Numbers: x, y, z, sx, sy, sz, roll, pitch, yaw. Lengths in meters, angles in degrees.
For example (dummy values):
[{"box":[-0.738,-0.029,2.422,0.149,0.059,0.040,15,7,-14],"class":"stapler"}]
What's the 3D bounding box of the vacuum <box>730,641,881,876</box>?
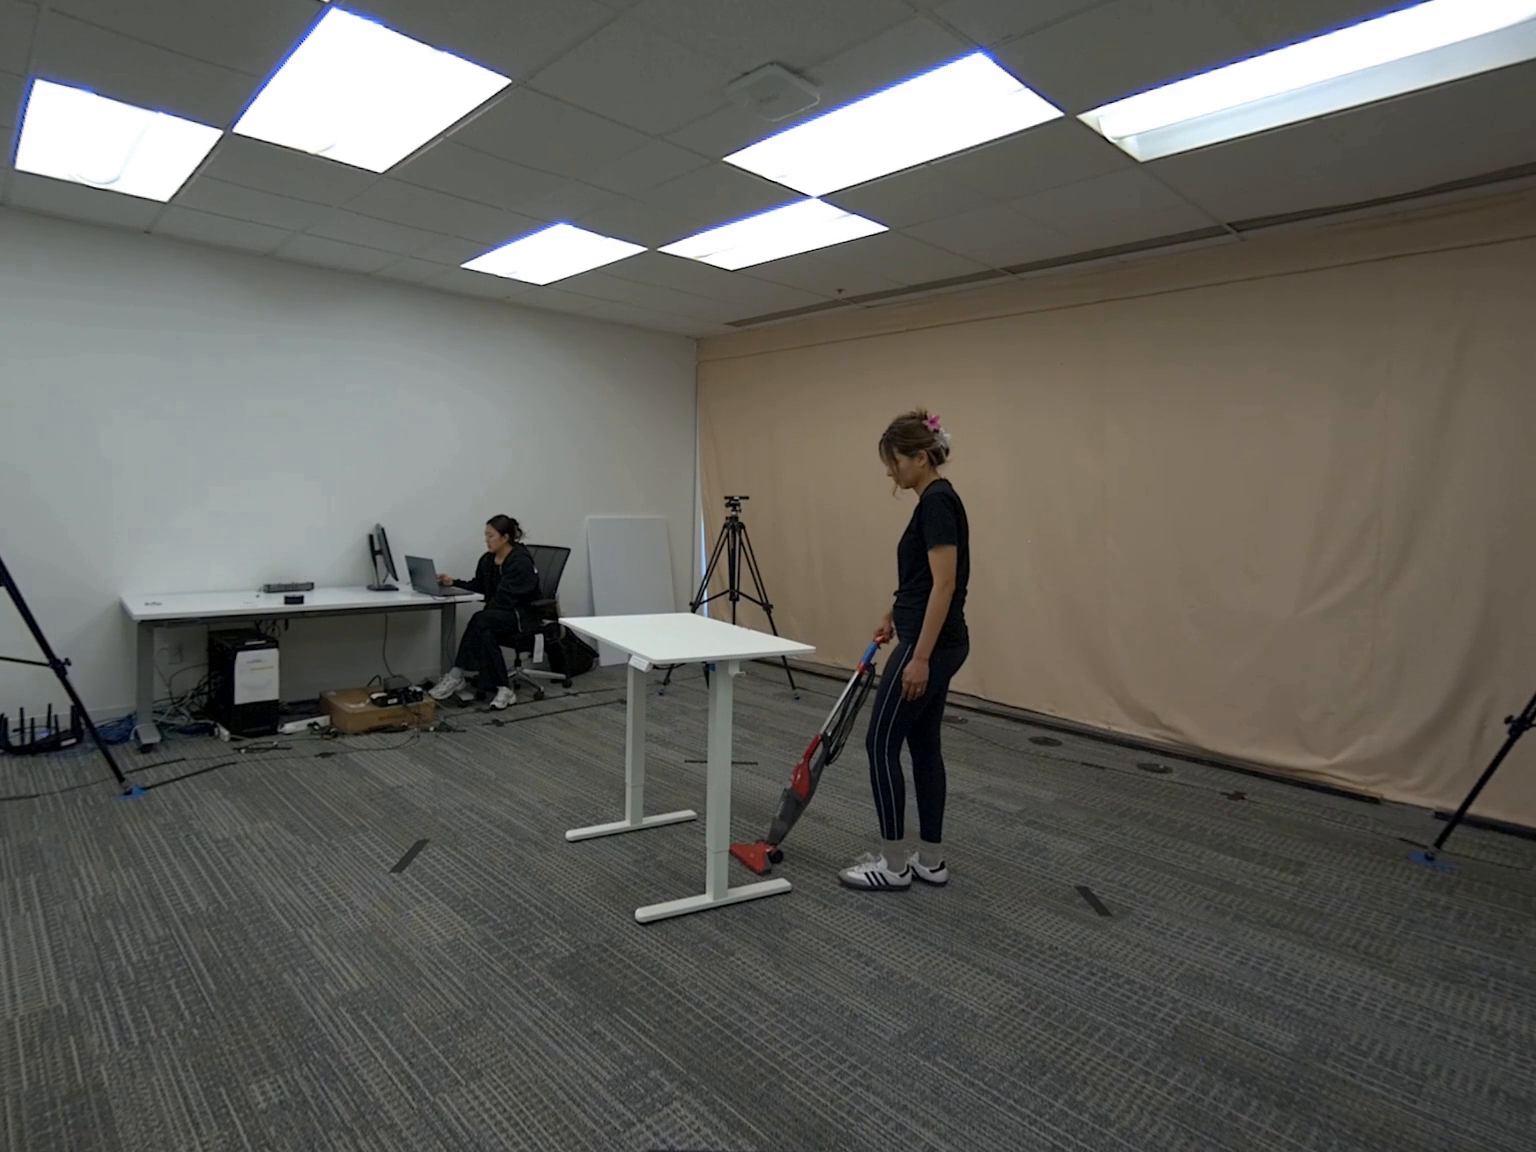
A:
[{"box":[0.230,0.658,3.368,0.140,1.051,0.258,41,-16,-26],"class":"vacuum"}]
